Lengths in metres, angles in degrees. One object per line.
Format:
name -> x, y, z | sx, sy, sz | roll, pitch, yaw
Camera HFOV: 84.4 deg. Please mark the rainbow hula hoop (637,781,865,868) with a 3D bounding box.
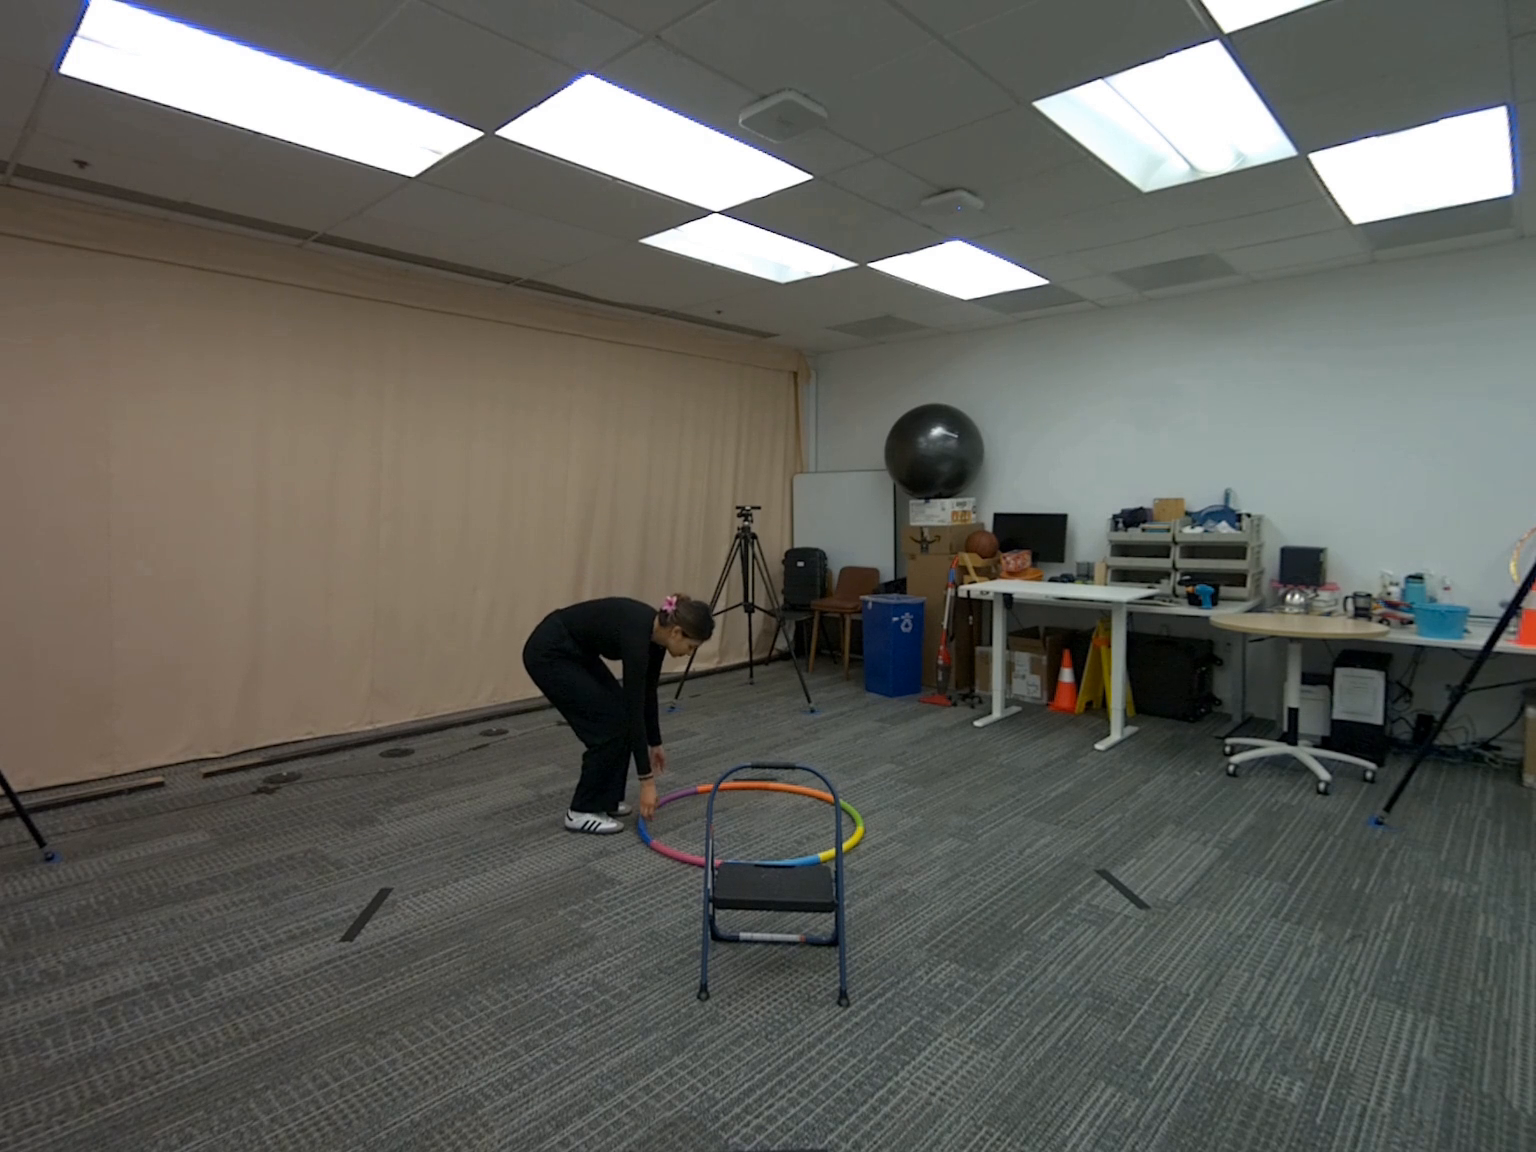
rainbow hula hoop -> -0.082, 1.051, 3.674 | 0.978, 0.035, 0.982 | 0, 5, -2
